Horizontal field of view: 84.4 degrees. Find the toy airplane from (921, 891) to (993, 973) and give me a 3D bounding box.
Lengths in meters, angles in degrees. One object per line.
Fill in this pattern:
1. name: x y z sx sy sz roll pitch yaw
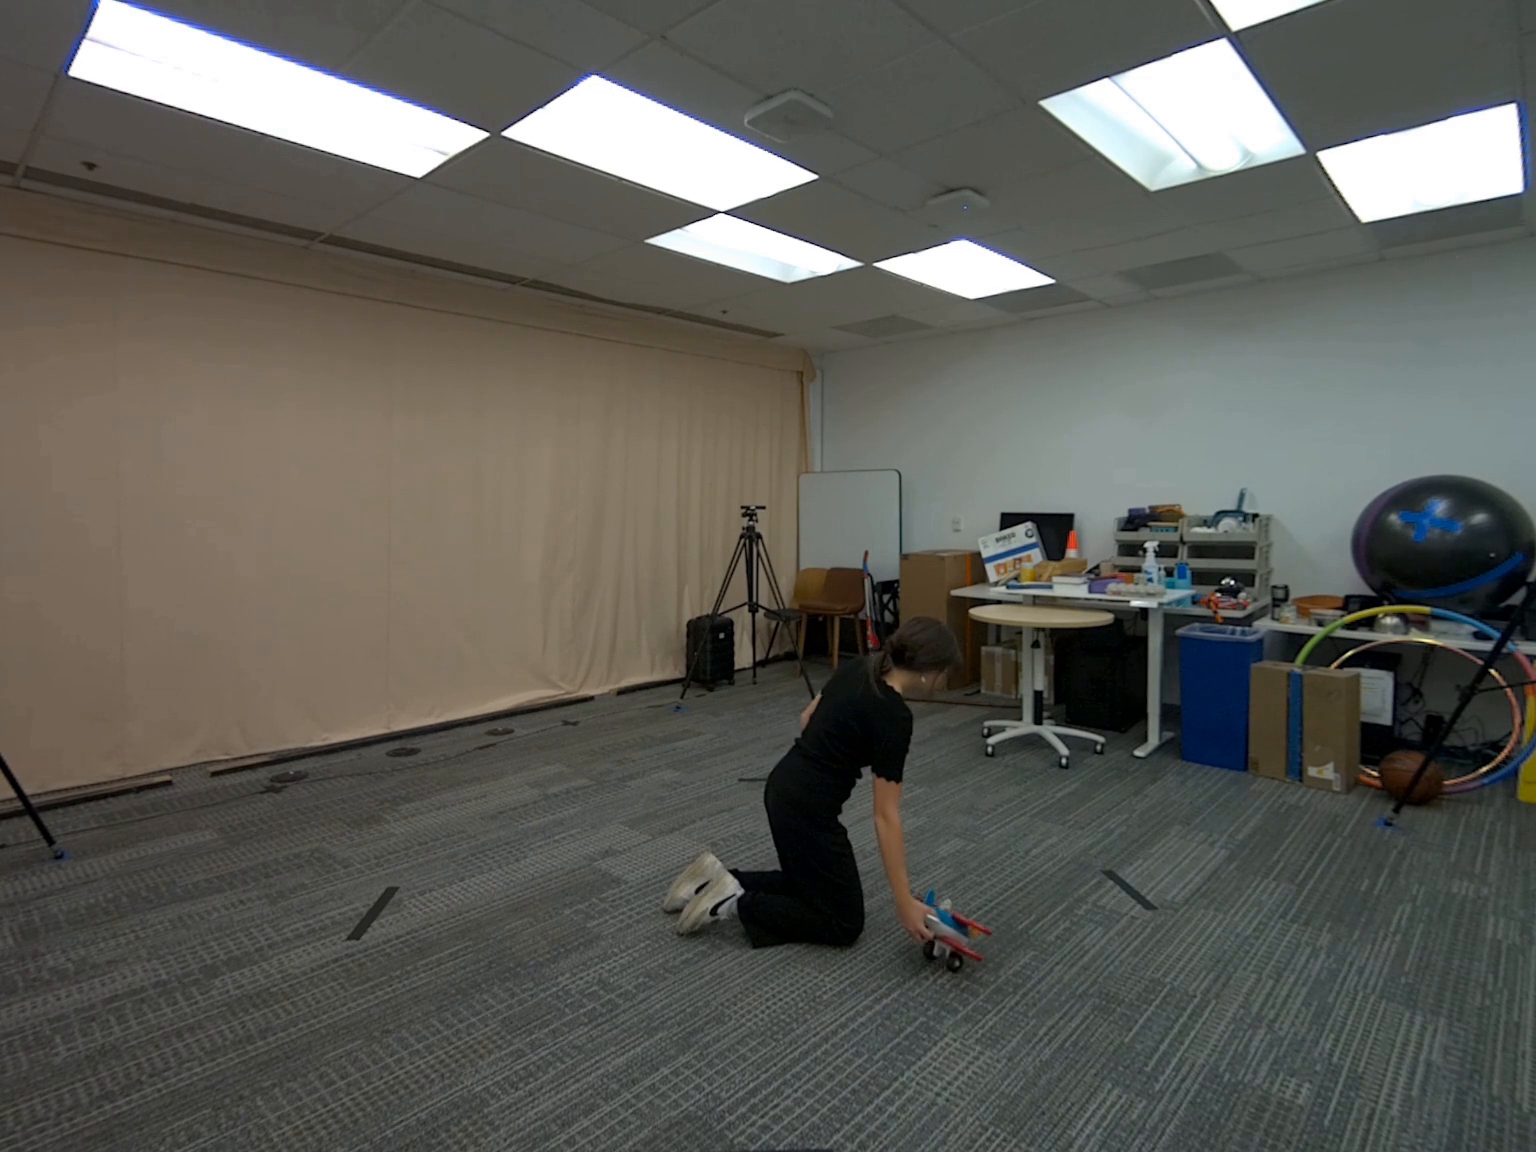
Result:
1. toy airplane: 0.547 1.064 2.521 0.259 0.253 0.155 26 60 26
